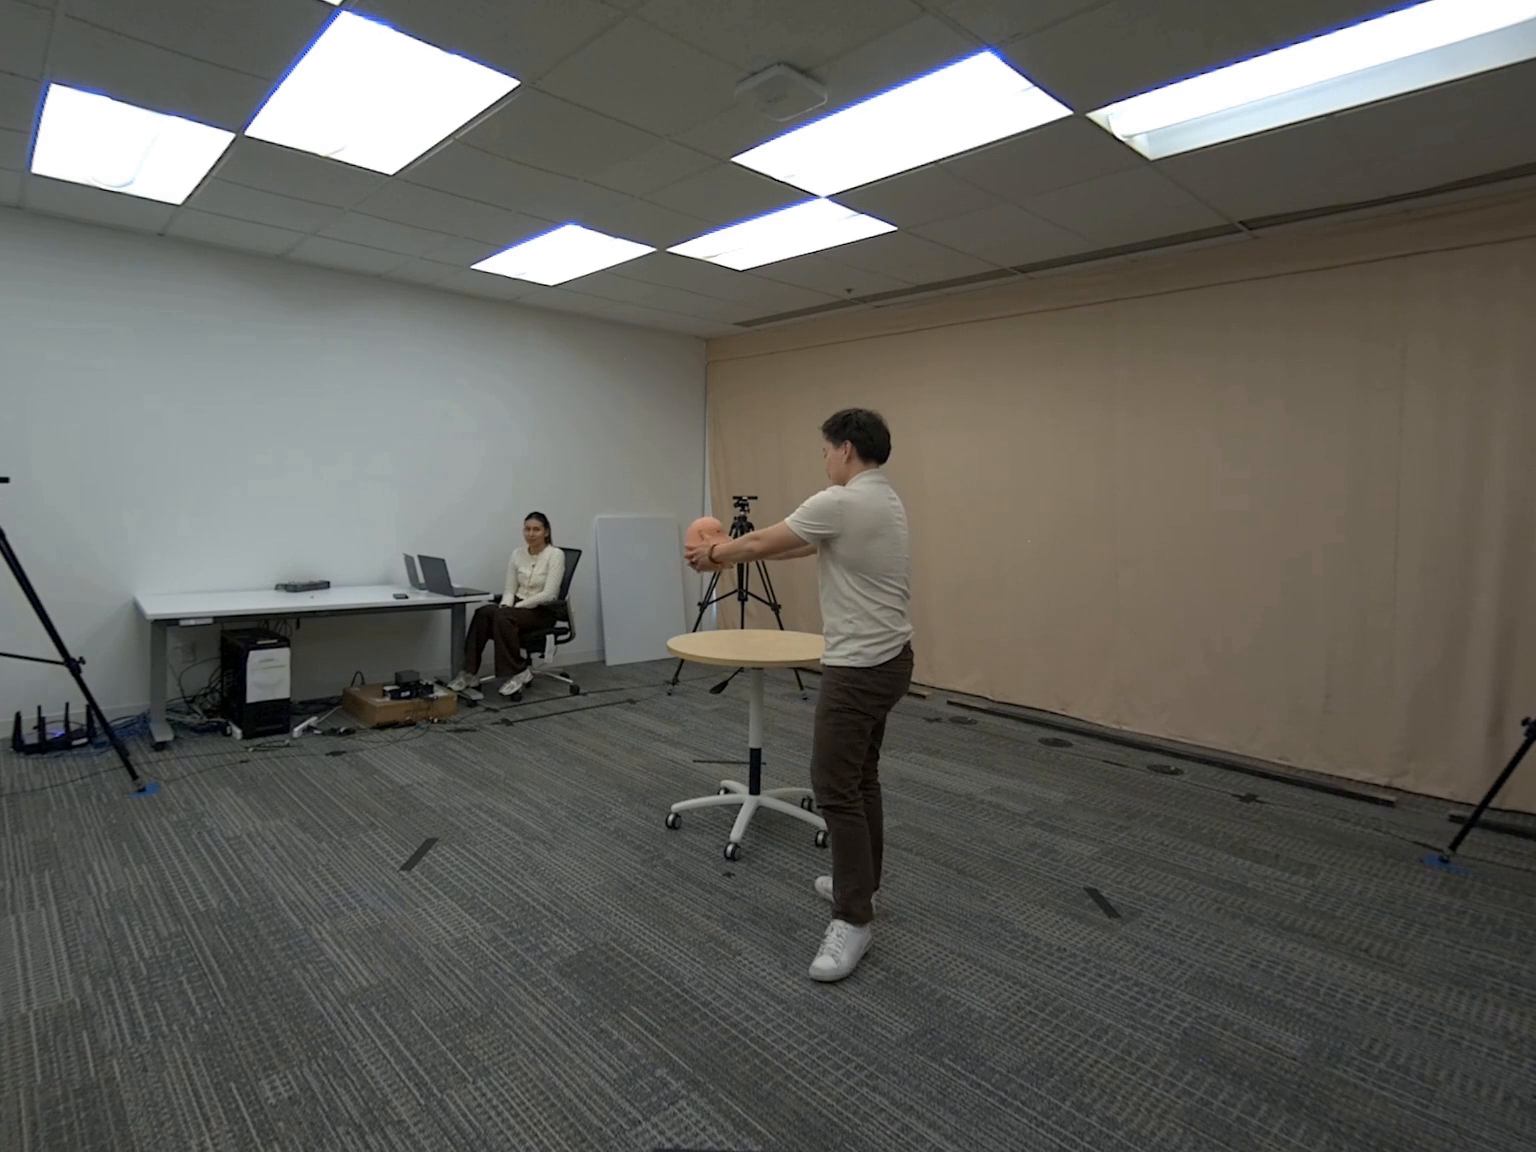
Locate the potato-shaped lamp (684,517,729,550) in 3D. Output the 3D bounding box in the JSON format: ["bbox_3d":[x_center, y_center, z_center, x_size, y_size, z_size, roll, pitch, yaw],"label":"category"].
[{"bbox_3d":[-0.211,-0.109,3.037,0.175,0.199,0.161,-4,-7,29],"label":"potato-shaped lamp"}]
